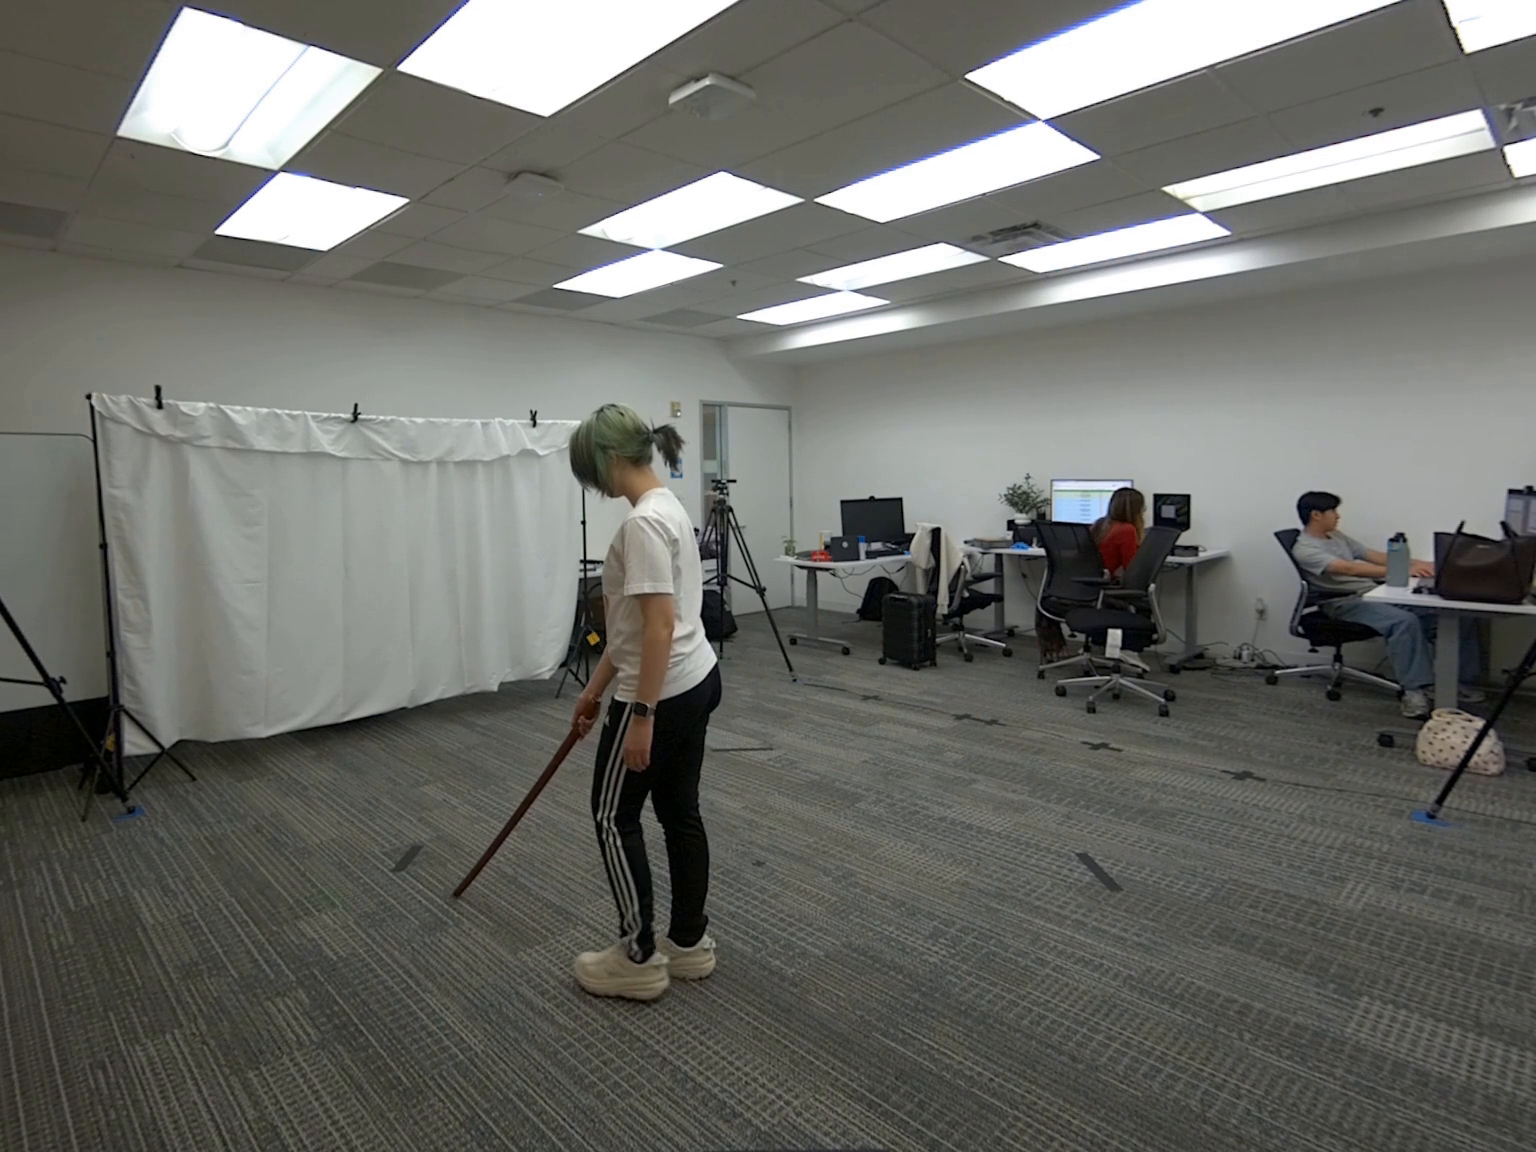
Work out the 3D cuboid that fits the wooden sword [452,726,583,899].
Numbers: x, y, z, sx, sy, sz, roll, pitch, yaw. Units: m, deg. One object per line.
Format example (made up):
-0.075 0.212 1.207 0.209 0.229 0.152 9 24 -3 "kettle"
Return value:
-0.785 0.738 2.695 0.024 1.022 0.051 43 26 8 "wooden sword"
